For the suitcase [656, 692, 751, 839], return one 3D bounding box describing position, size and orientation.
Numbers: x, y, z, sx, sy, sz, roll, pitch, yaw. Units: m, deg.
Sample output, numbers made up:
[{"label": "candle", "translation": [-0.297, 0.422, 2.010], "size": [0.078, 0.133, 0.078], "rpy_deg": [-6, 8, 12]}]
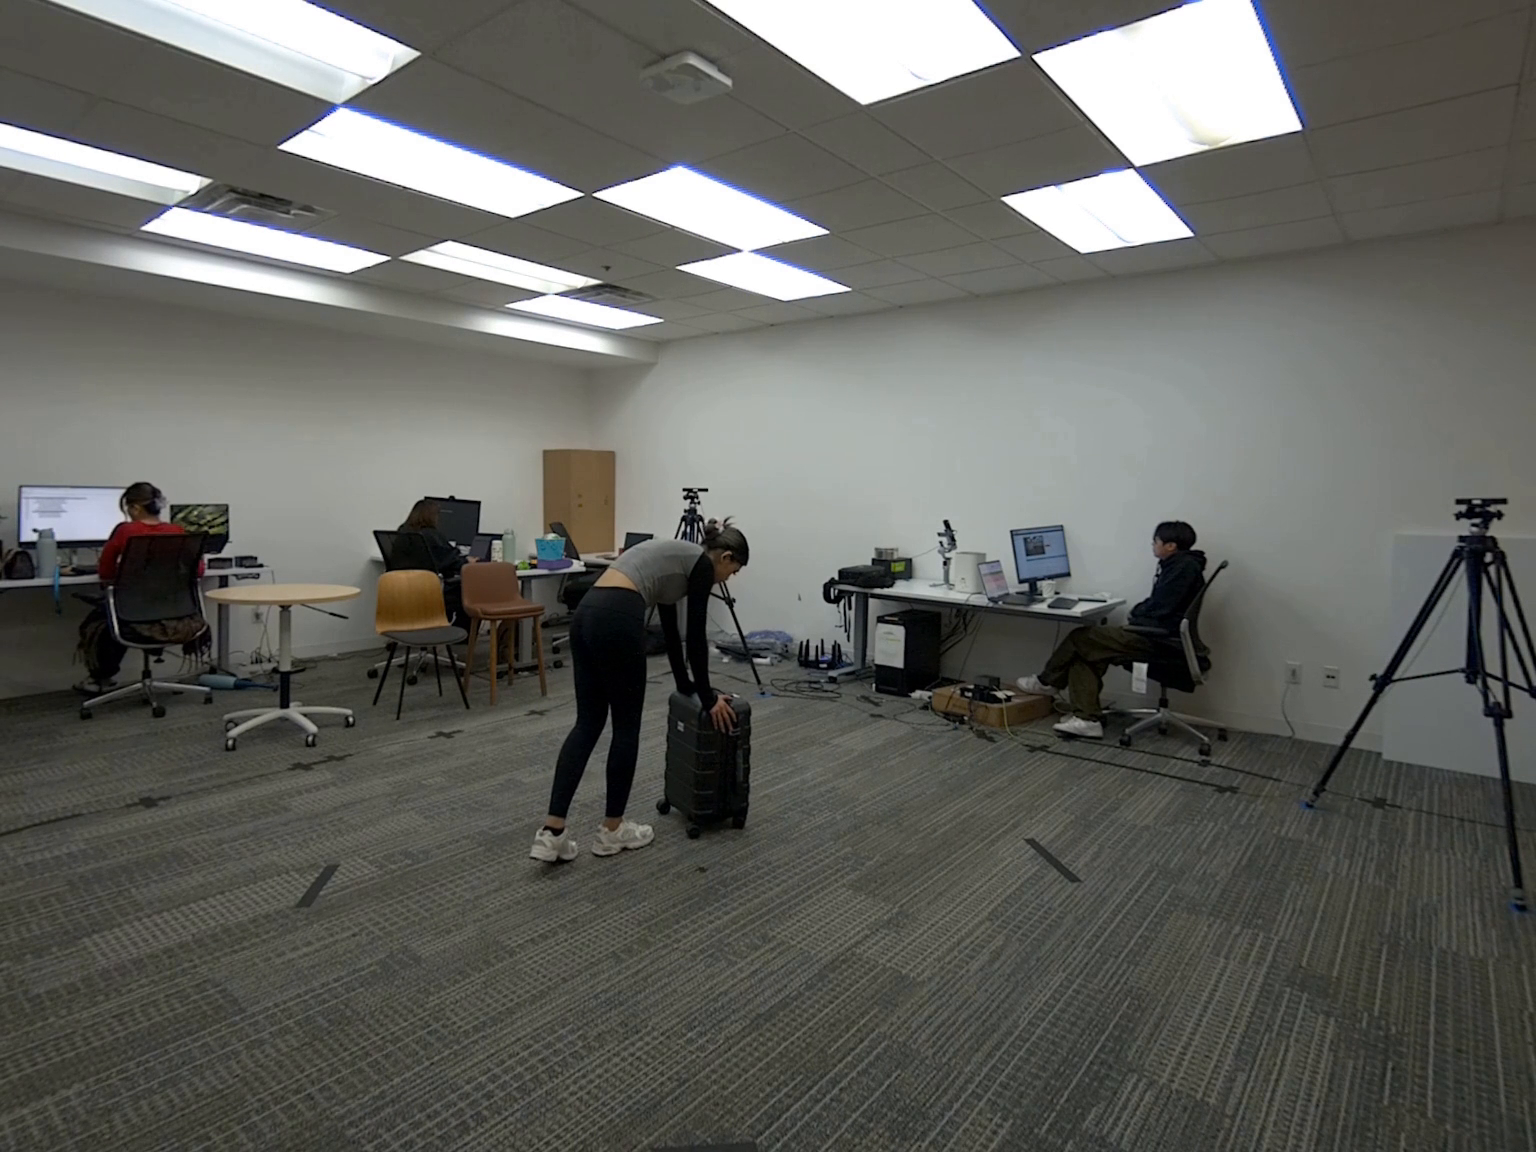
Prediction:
[{"label": "suitcase", "translation": [-0.267, 0.748, 3.573], "size": [0.241, 0.548, 0.387], "rpy_deg": [0, 3, -31]}]
